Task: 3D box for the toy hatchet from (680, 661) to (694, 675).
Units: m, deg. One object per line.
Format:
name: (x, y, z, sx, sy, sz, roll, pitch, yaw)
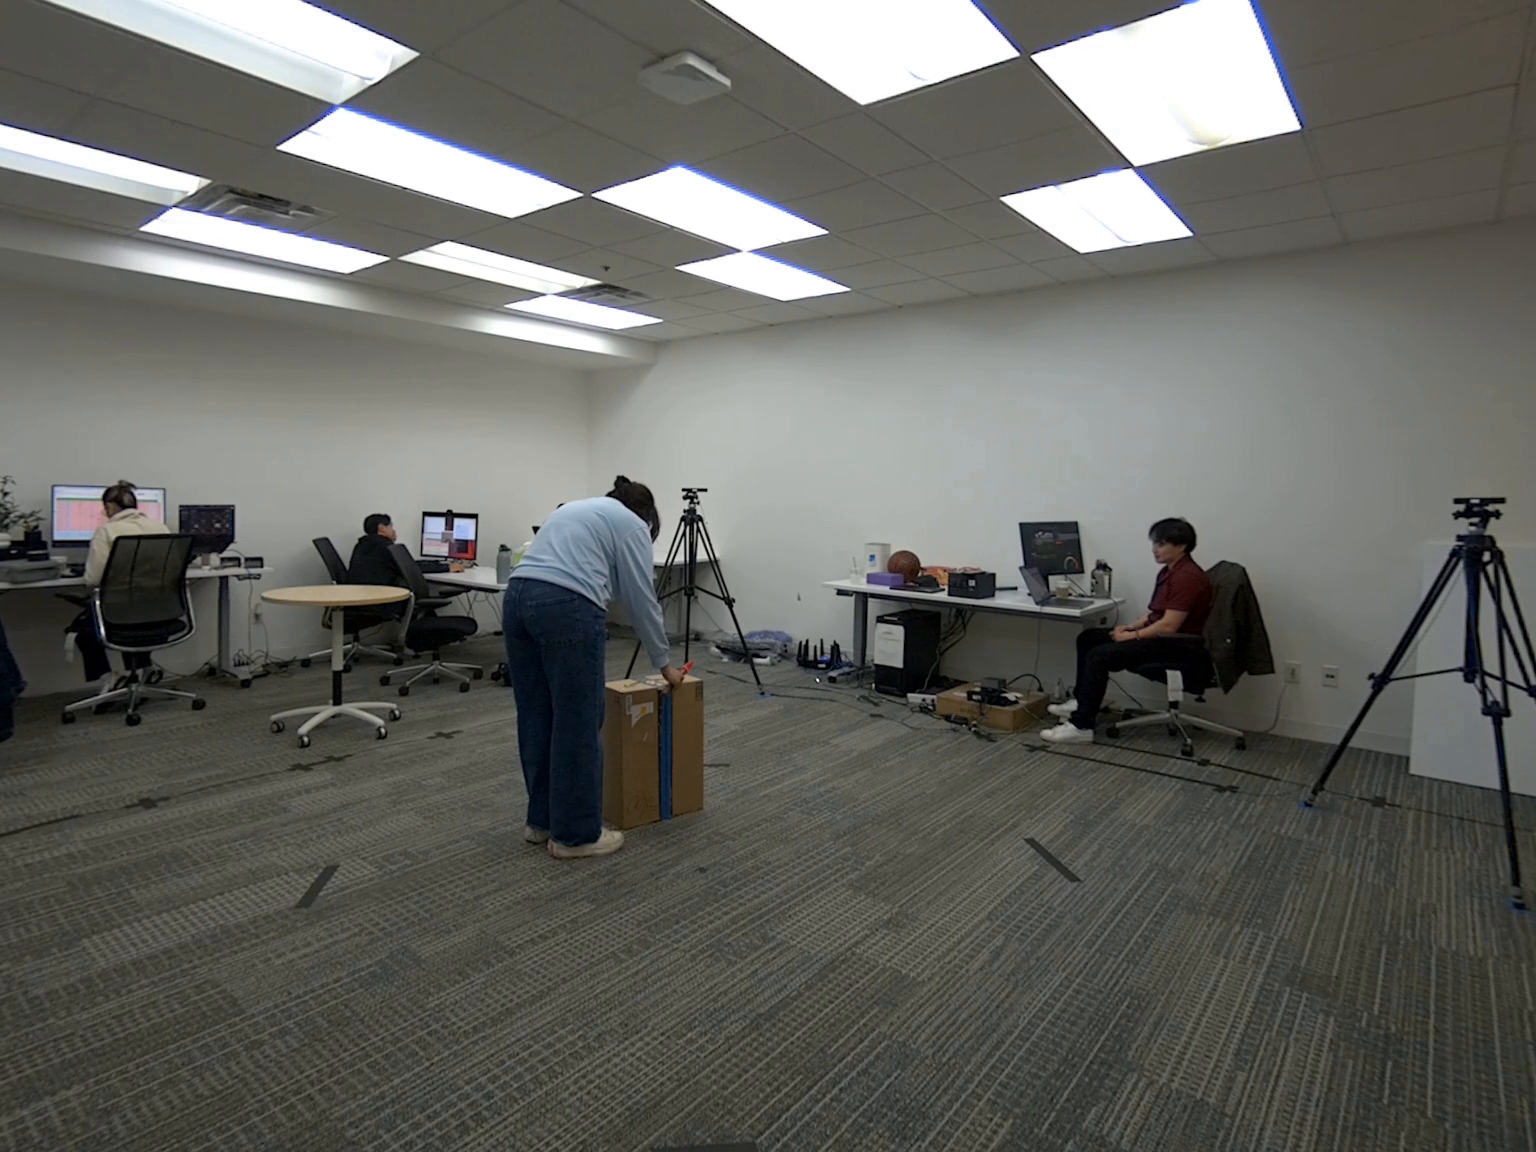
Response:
toy hatchet: (-0.413, 0.445, 3.520, 0.131, 0.029, 0.270, -44, 4, 28)
